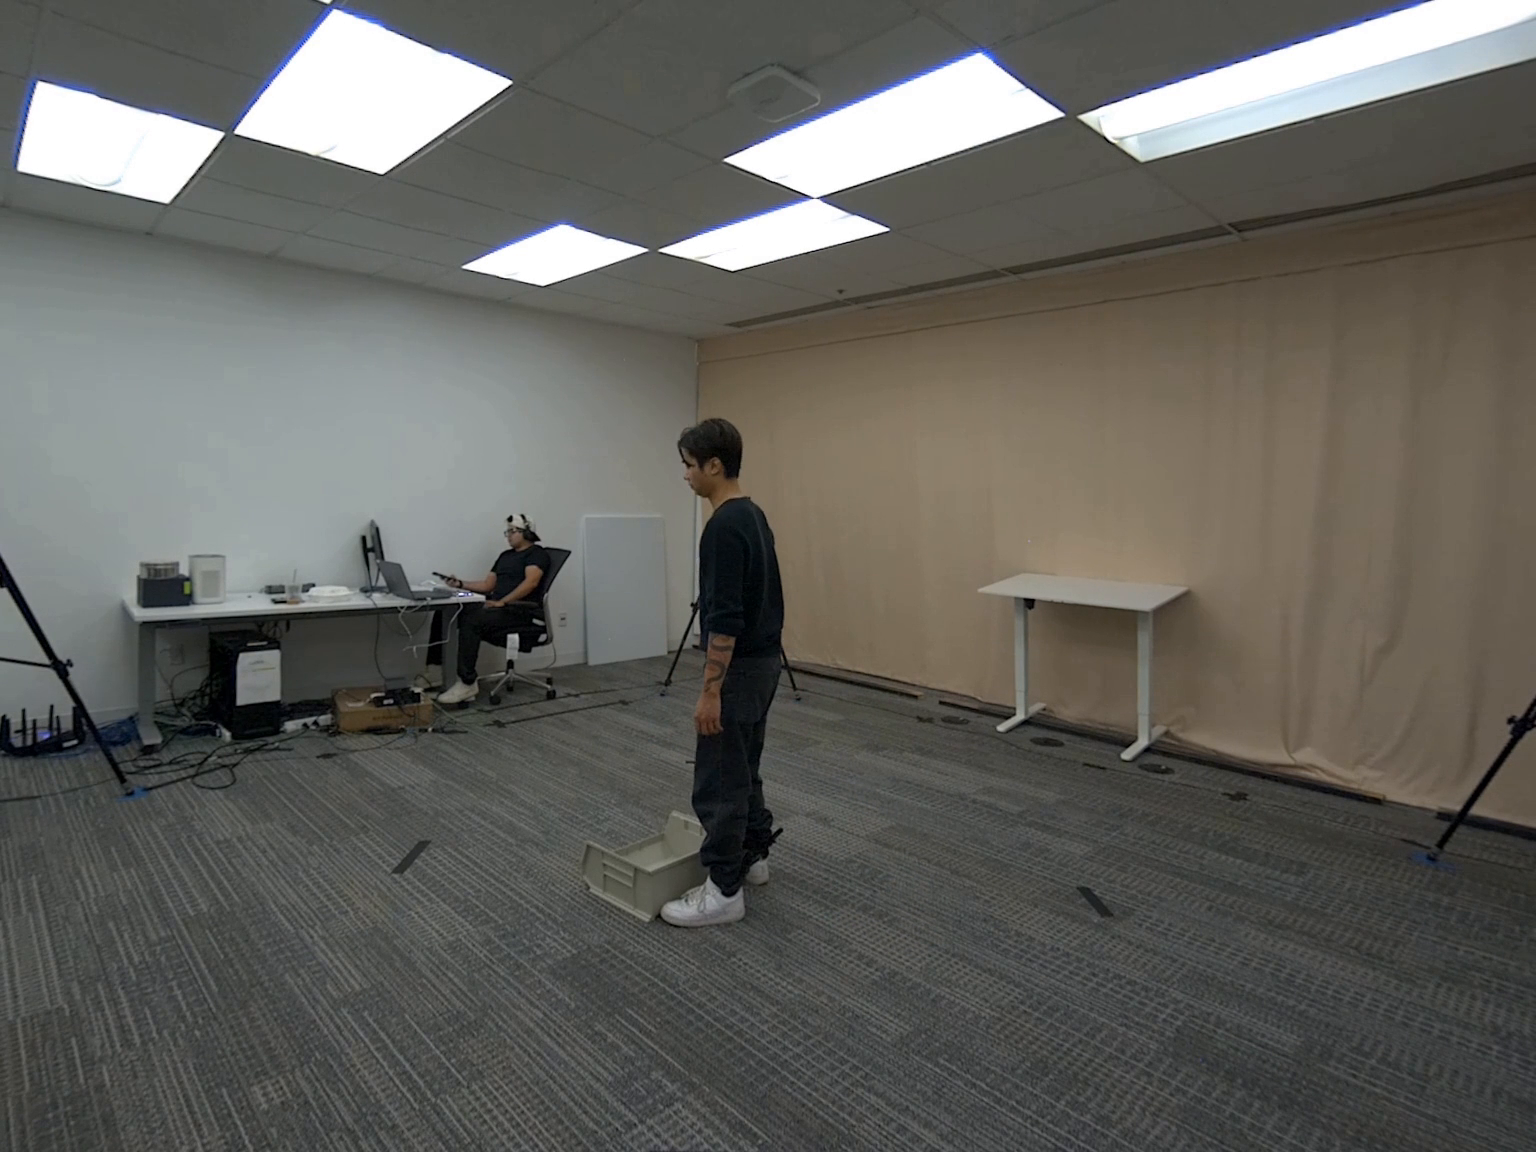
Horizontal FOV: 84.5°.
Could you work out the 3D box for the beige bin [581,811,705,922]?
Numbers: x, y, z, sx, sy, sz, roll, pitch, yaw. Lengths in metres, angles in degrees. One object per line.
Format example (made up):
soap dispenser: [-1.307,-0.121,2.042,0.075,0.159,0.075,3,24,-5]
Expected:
beige bin: [-0.399,1.023,3.011,0.387,0.188,0.412,8,7,42]
